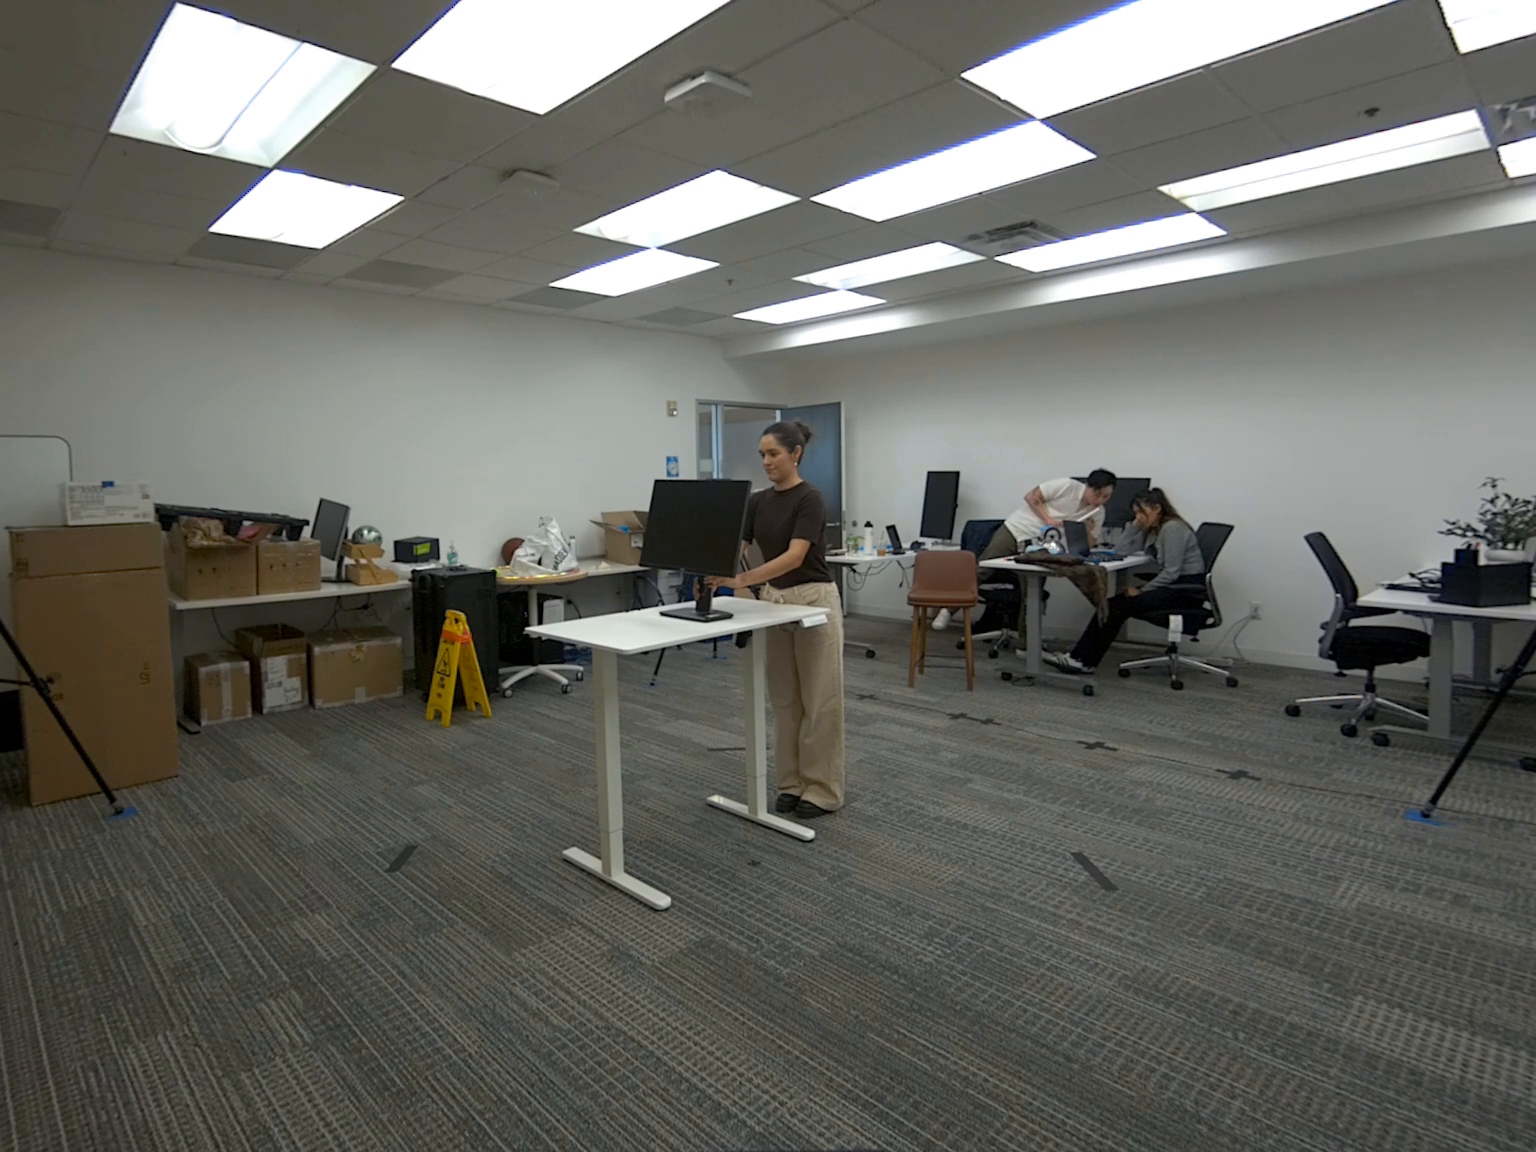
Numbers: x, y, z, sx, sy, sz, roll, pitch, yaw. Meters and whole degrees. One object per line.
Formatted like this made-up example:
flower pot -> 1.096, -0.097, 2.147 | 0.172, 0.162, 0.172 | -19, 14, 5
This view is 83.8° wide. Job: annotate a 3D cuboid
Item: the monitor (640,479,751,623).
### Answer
monitor -> -0.264, -0.103, 3.216 | 0.547, 0.513, 0.170 | 6, 9, 44
